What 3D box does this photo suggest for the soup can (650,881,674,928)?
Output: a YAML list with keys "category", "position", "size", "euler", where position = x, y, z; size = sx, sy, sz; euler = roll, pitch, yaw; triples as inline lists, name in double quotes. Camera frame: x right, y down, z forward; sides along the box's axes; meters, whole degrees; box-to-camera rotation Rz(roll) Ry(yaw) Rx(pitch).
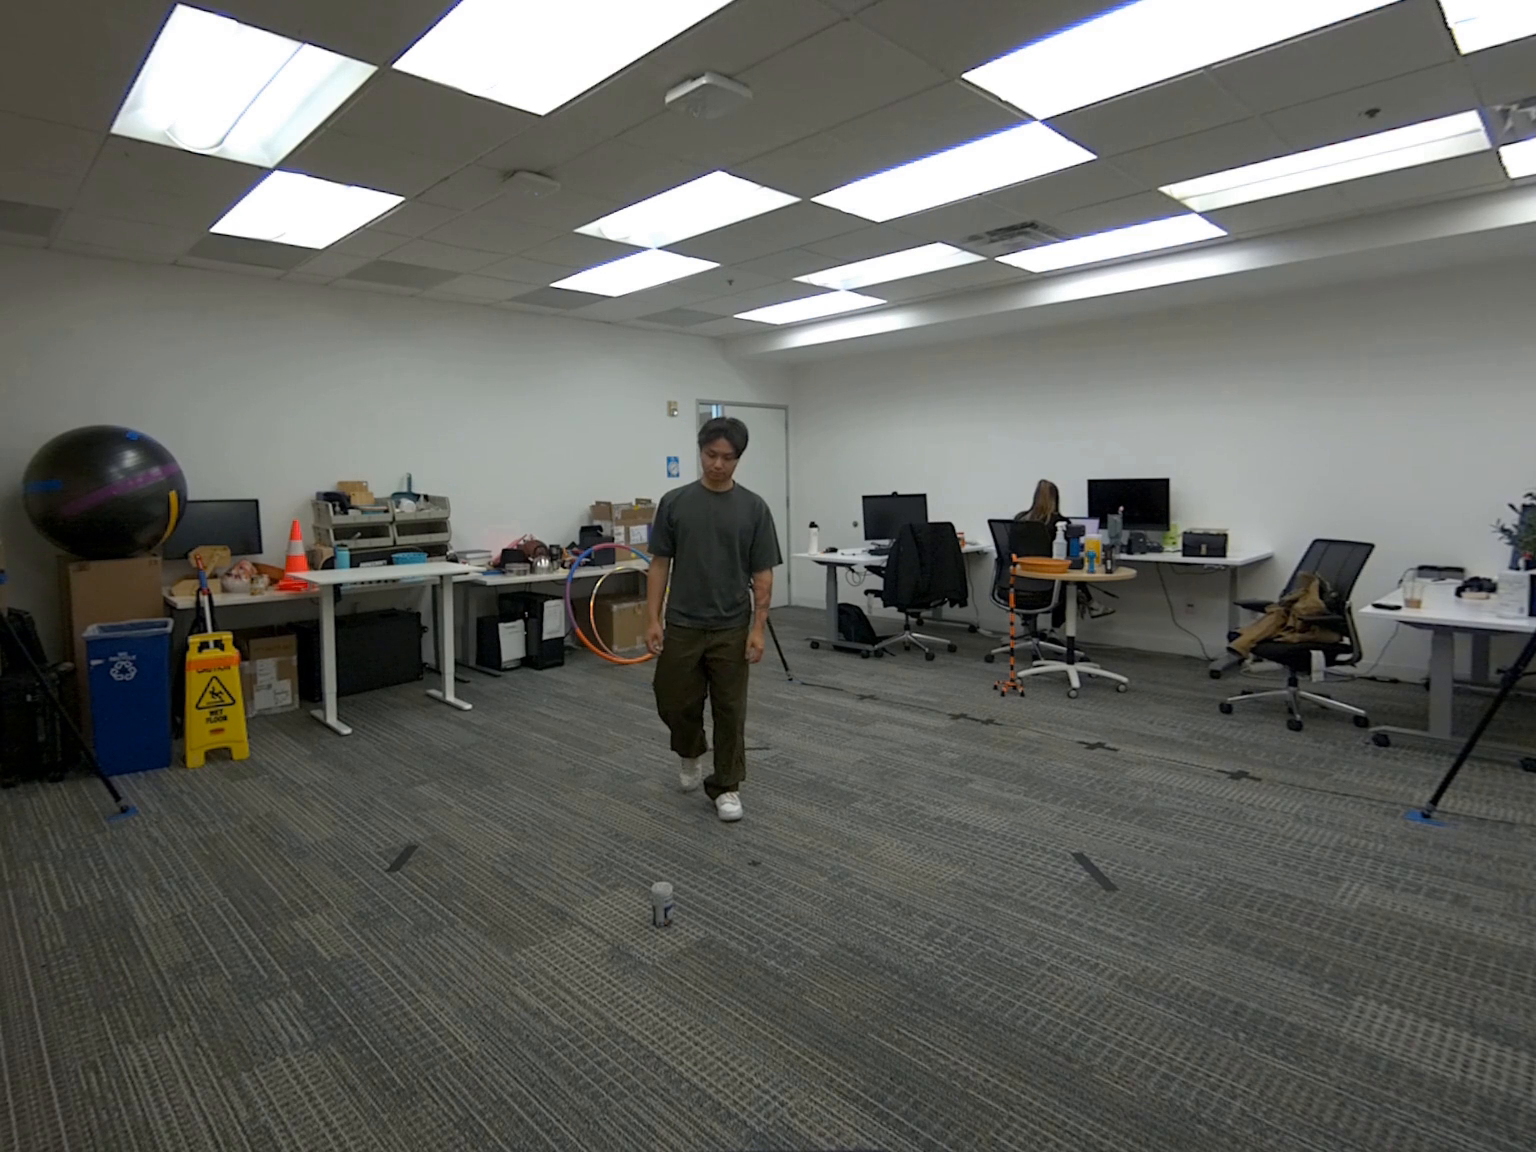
- category: "soup can"
  position: [-0.334, 1.045, 2.697]
  size: [0.067, 0.121, 0.067]
  euler: [-3, 5, -1]
